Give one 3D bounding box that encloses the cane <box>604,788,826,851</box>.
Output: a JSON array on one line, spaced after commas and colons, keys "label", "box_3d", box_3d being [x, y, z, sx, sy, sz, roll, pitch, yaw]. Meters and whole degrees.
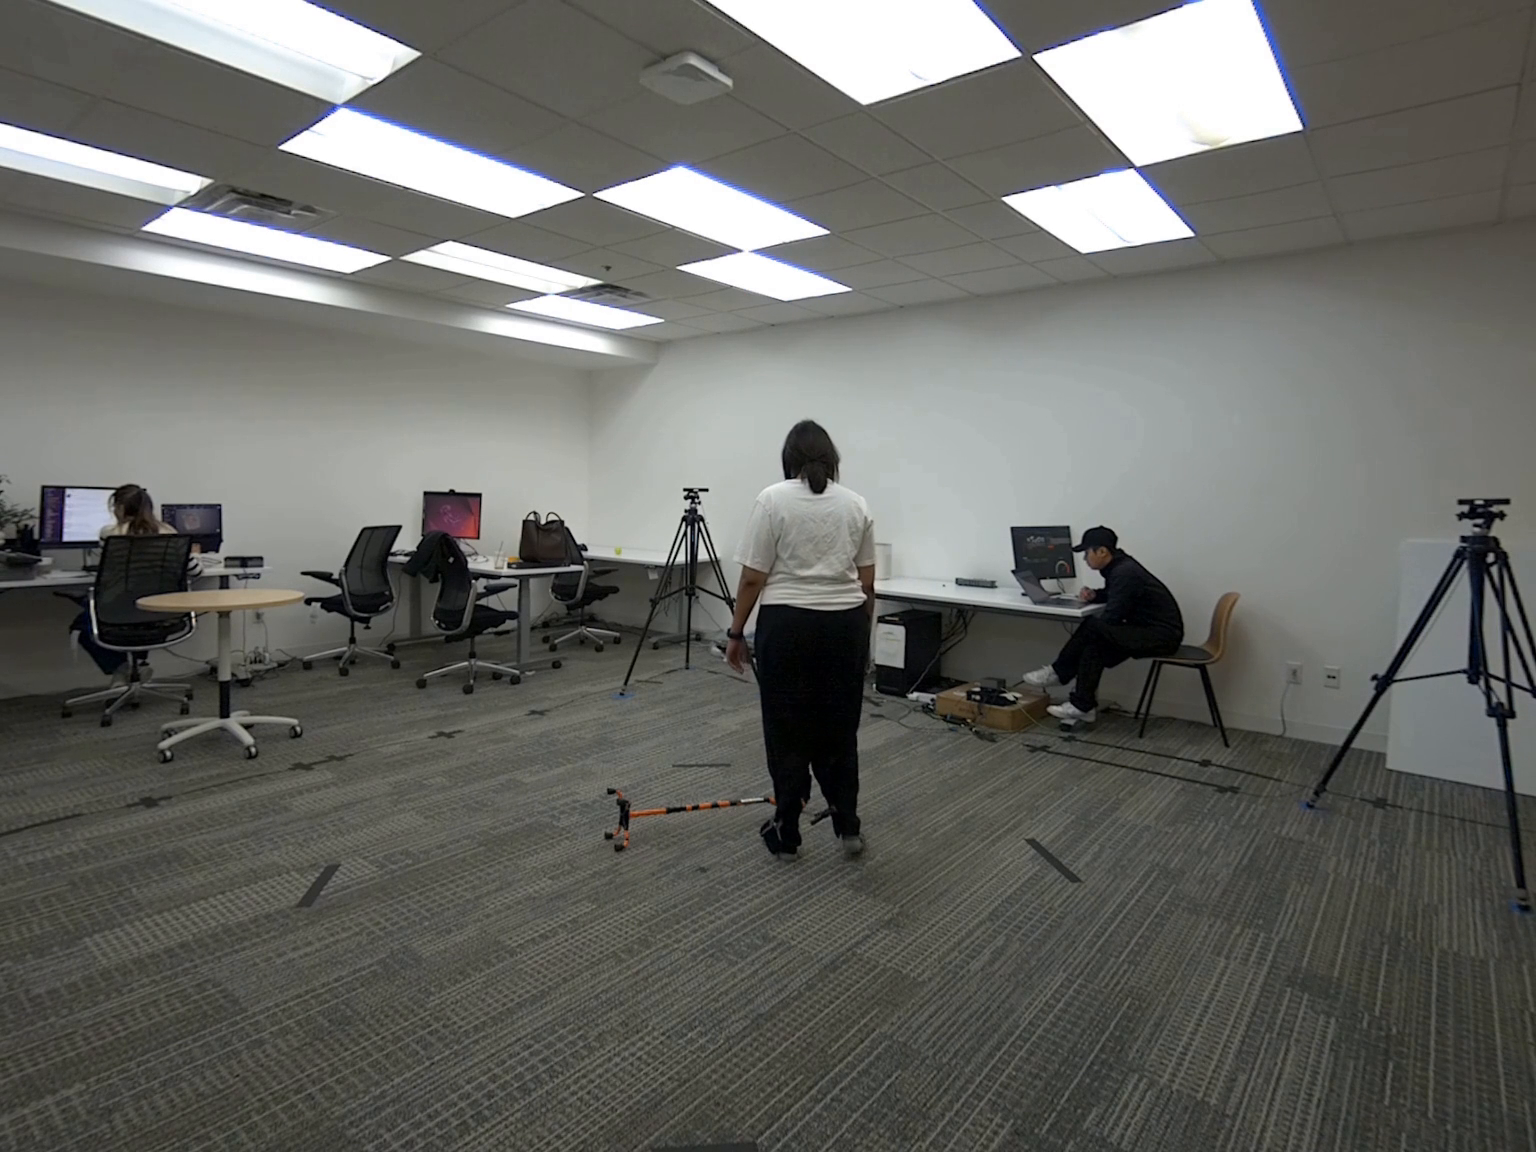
[{"label": "cane", "box_3d": [-0.226, 0.939, 3.492, 0.885, 0.206, 0.155, 1, 1, -26]}]
